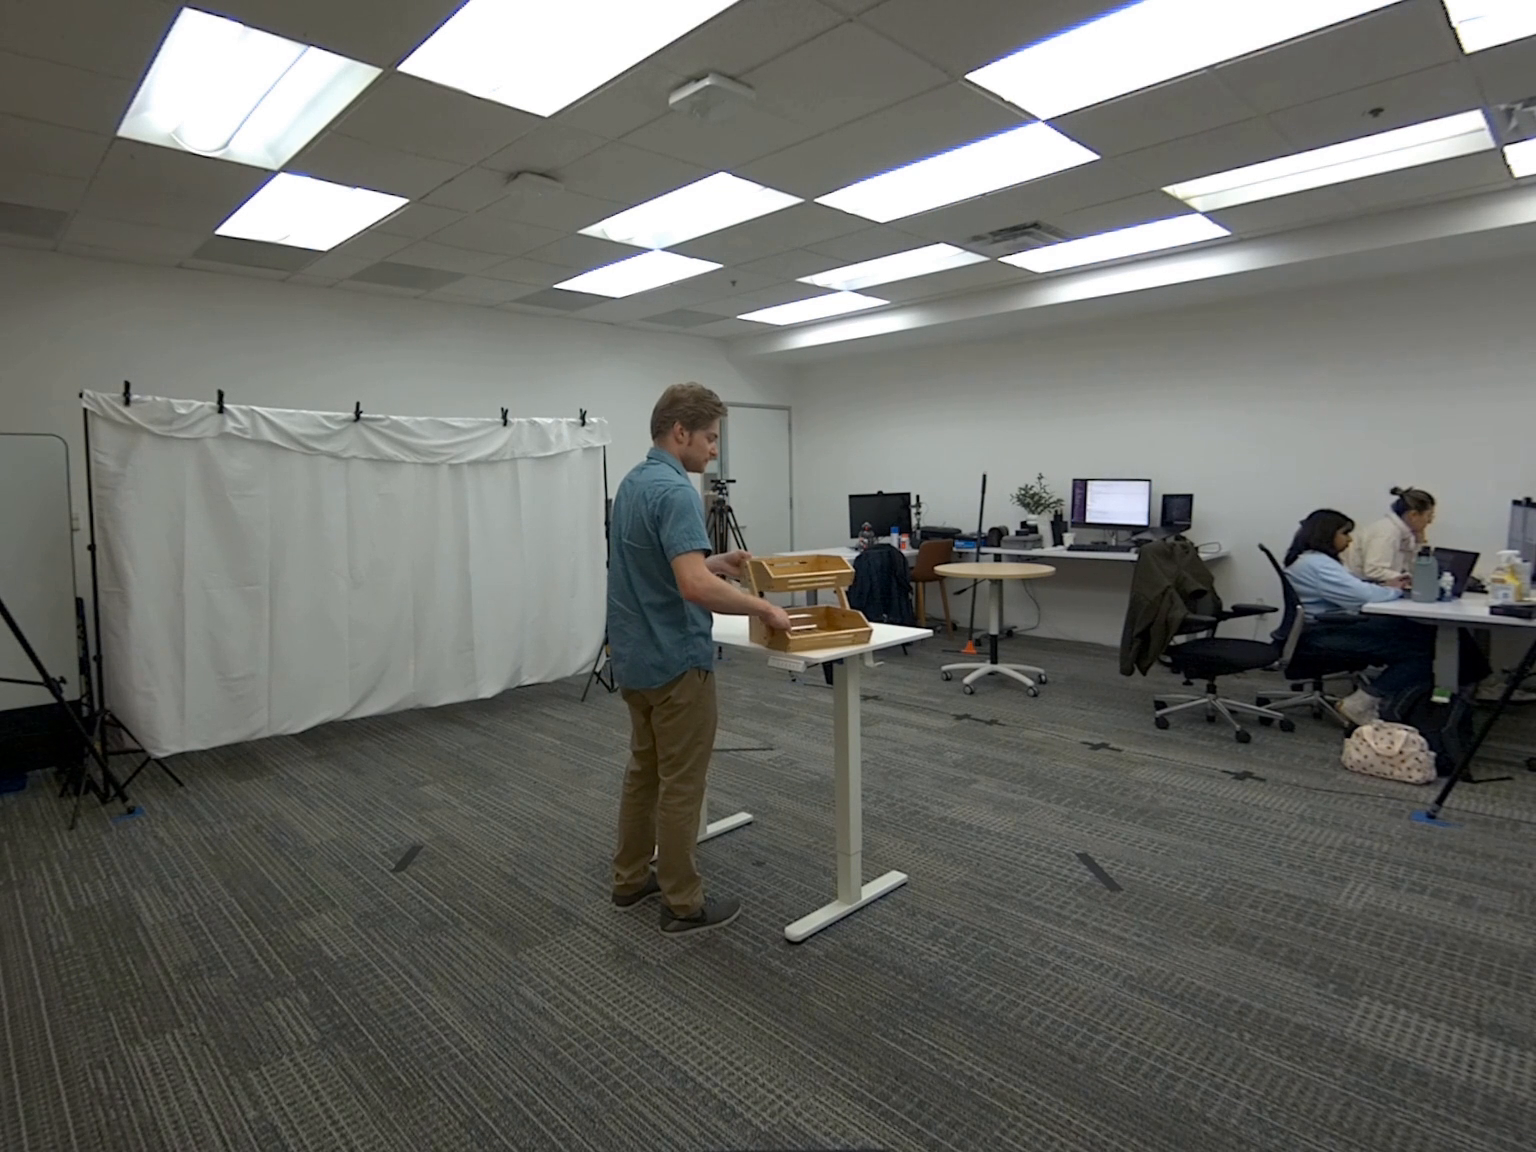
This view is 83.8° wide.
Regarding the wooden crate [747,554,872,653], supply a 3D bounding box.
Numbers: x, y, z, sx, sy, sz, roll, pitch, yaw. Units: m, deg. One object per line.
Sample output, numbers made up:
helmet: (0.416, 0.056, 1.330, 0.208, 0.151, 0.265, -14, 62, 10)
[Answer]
wooden crate: (0.120, 0.073, 2.682, 0.317, 0.272, 0.310, -4, 5, -27)
